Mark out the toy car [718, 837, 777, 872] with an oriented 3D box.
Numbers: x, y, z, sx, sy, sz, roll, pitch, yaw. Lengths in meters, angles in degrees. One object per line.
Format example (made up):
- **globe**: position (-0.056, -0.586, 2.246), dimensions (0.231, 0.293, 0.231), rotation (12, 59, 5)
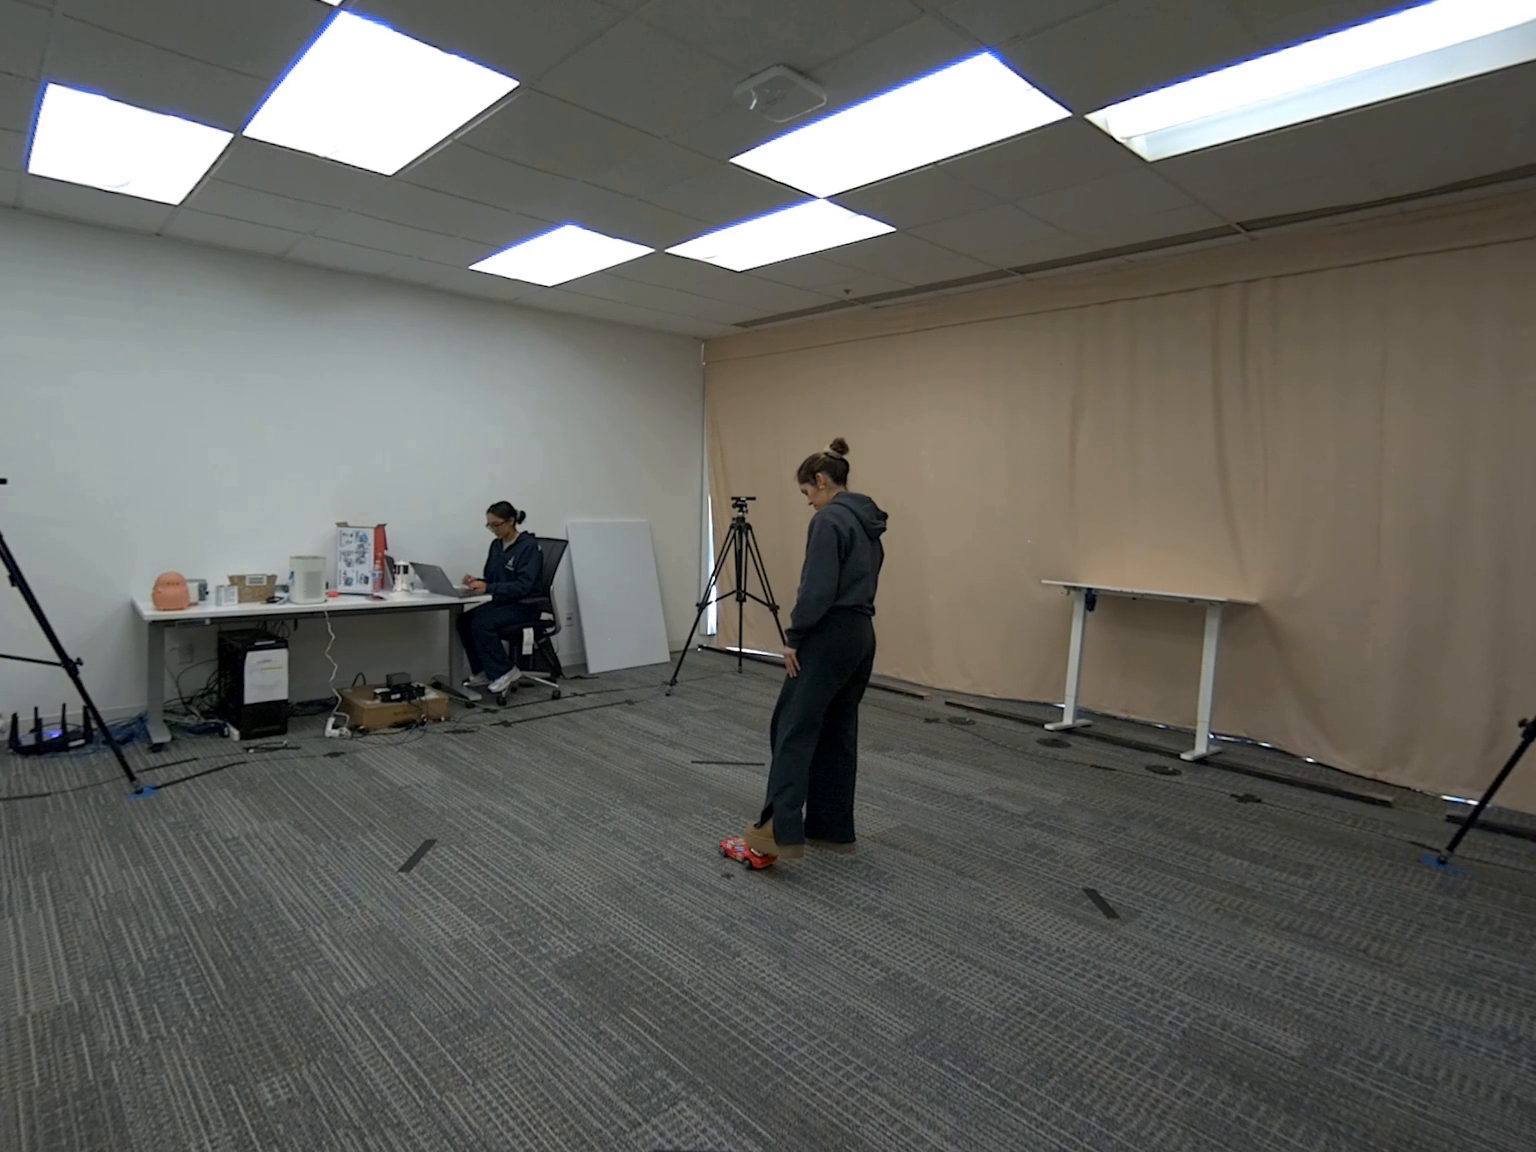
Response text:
- **toy car**: position (-0.085, 1.064, 3.246), dimensions (0.127, 0.083, 0.260), rotation (-3, -3, -43)
